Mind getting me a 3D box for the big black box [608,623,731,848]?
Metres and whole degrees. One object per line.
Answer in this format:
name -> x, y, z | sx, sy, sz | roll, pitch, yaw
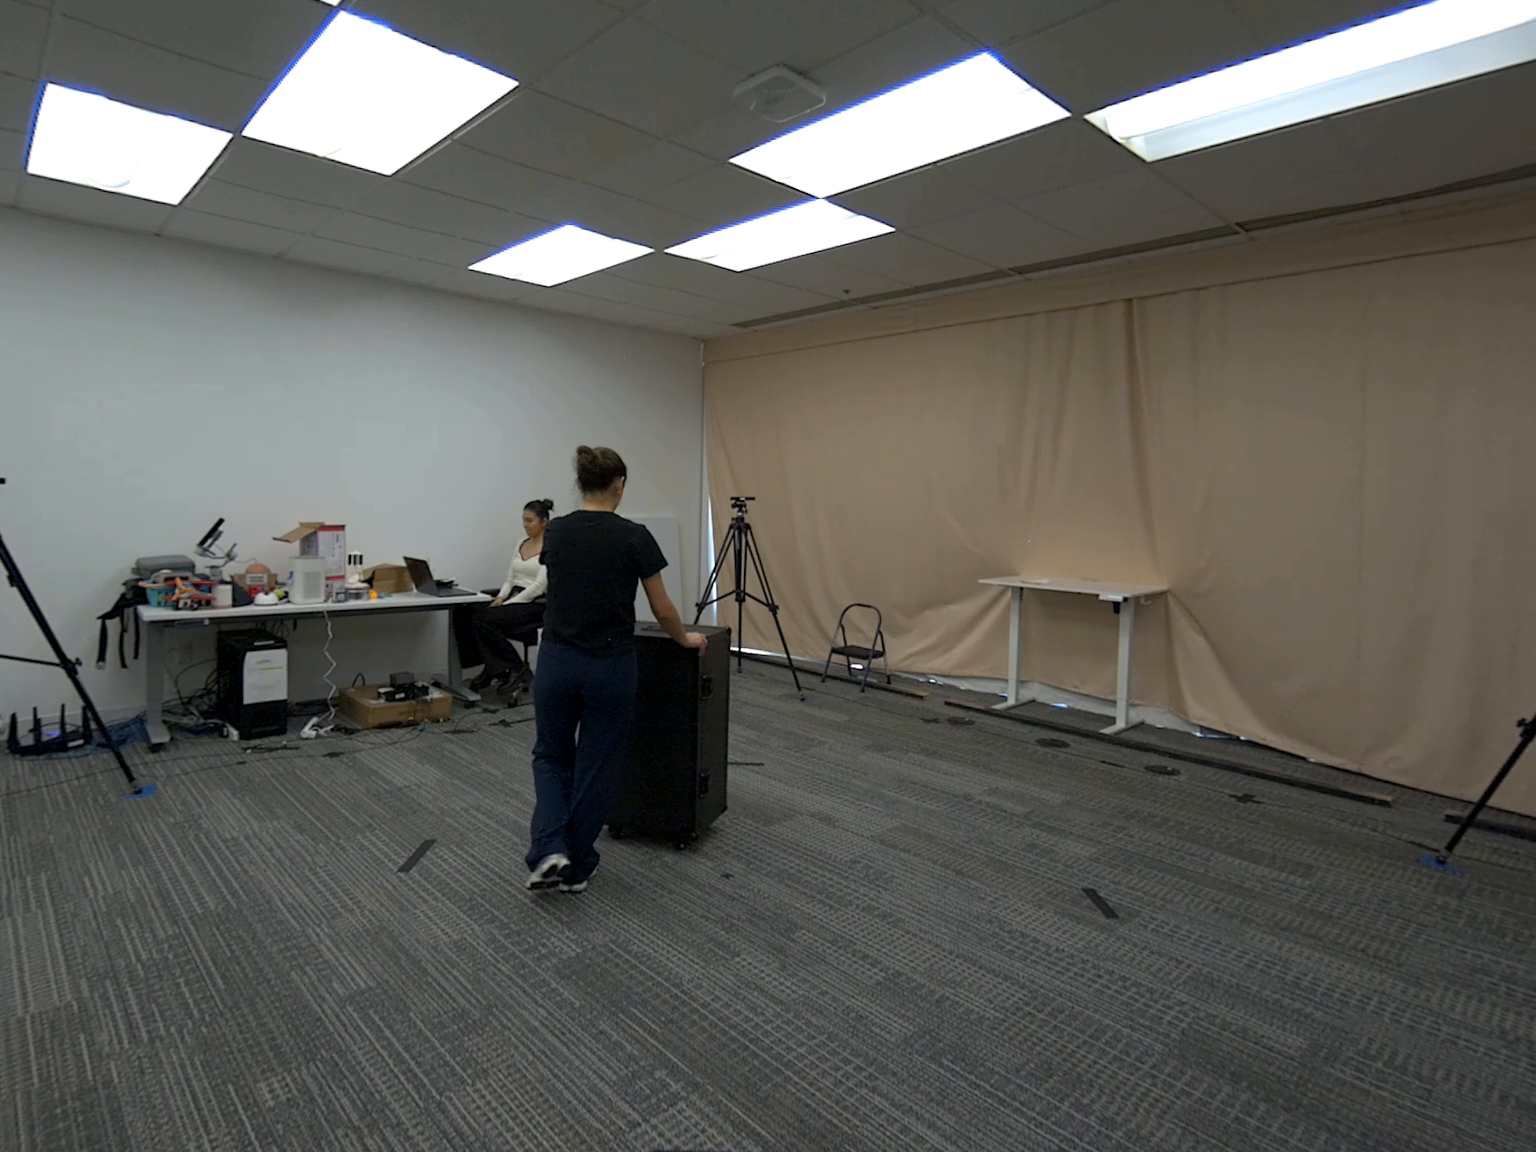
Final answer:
big black box -> -0.449, 0.639, 3.464 | 0.529, 0.860, 0.391 | 2, 3, 19
